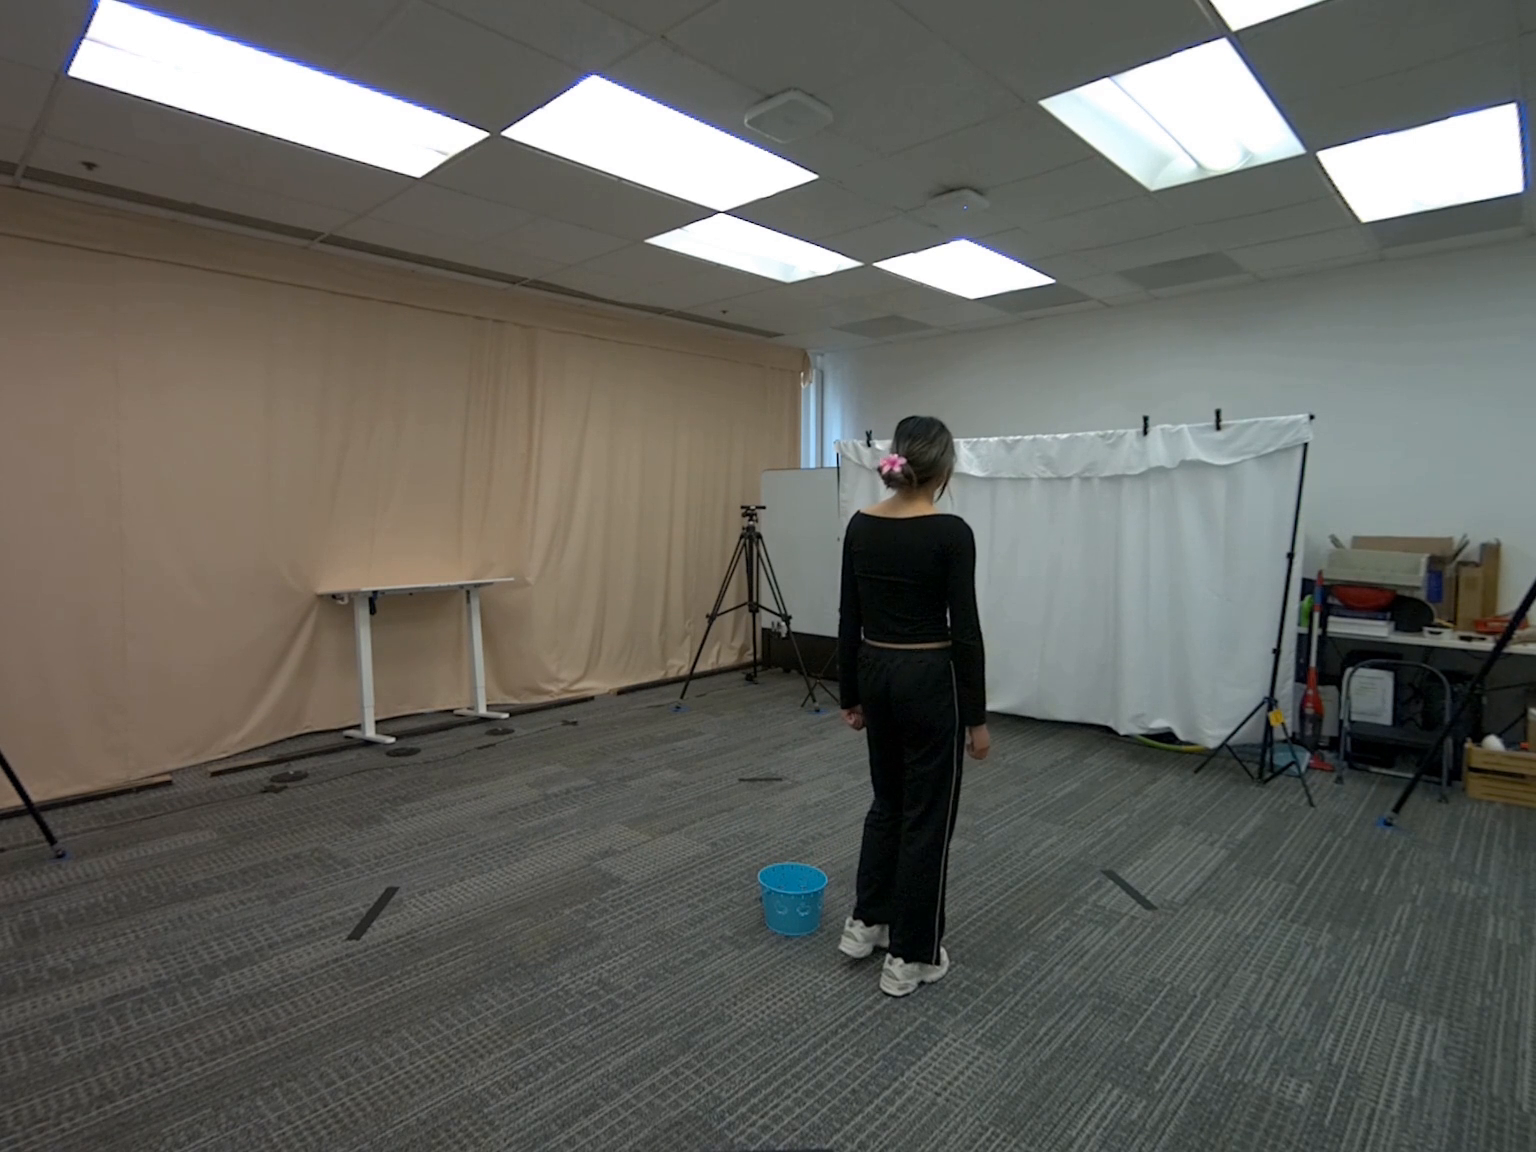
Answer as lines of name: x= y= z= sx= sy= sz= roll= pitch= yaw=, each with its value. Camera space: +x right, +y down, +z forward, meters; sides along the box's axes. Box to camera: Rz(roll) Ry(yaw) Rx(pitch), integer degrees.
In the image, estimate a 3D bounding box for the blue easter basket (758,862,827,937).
blue easter basket: x=0.087 y=1.080 z=2.818 sx=0.243 sy=0.155 sz=0.244 roll=0 pitch=5 yaw=-2
